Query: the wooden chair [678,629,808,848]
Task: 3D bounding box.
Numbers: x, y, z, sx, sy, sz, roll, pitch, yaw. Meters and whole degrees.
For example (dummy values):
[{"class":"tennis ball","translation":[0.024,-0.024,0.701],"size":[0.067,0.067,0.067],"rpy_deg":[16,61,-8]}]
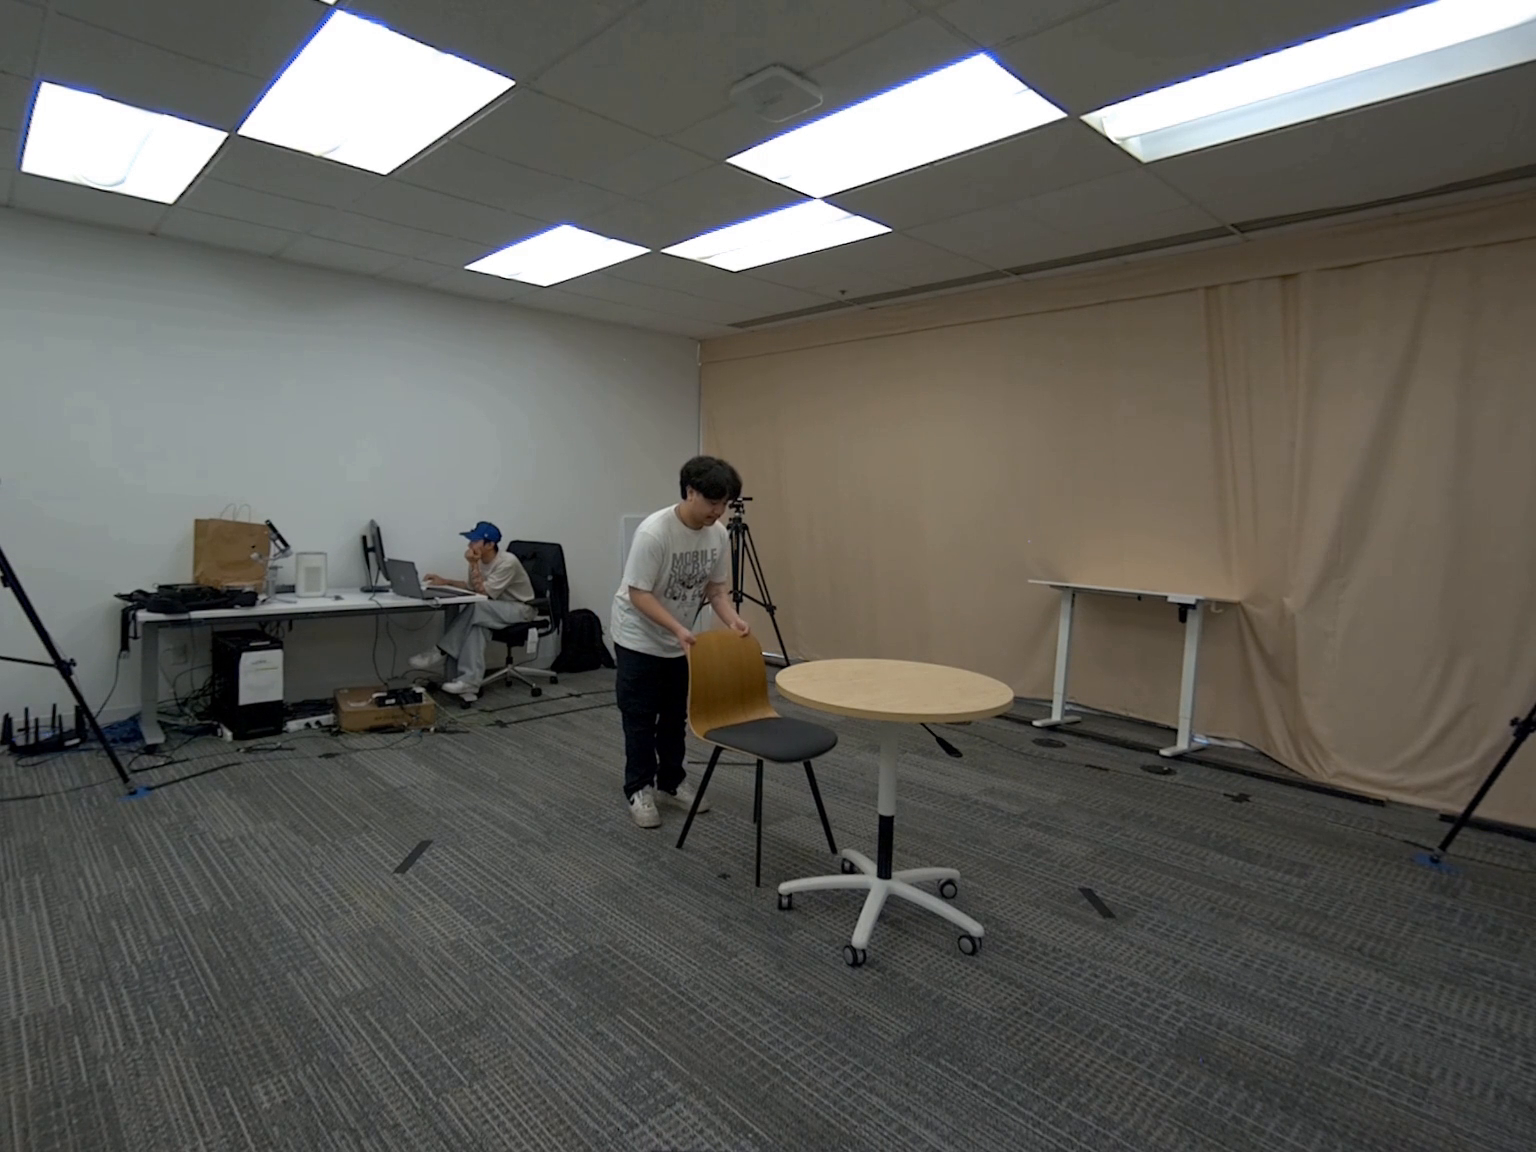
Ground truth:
[{"class":"wooden chair","translation":[-0.037,0.663,3.298],"size":[0.467,0.877,0.535],"rpy_deg":[-1,0,-45]}]
